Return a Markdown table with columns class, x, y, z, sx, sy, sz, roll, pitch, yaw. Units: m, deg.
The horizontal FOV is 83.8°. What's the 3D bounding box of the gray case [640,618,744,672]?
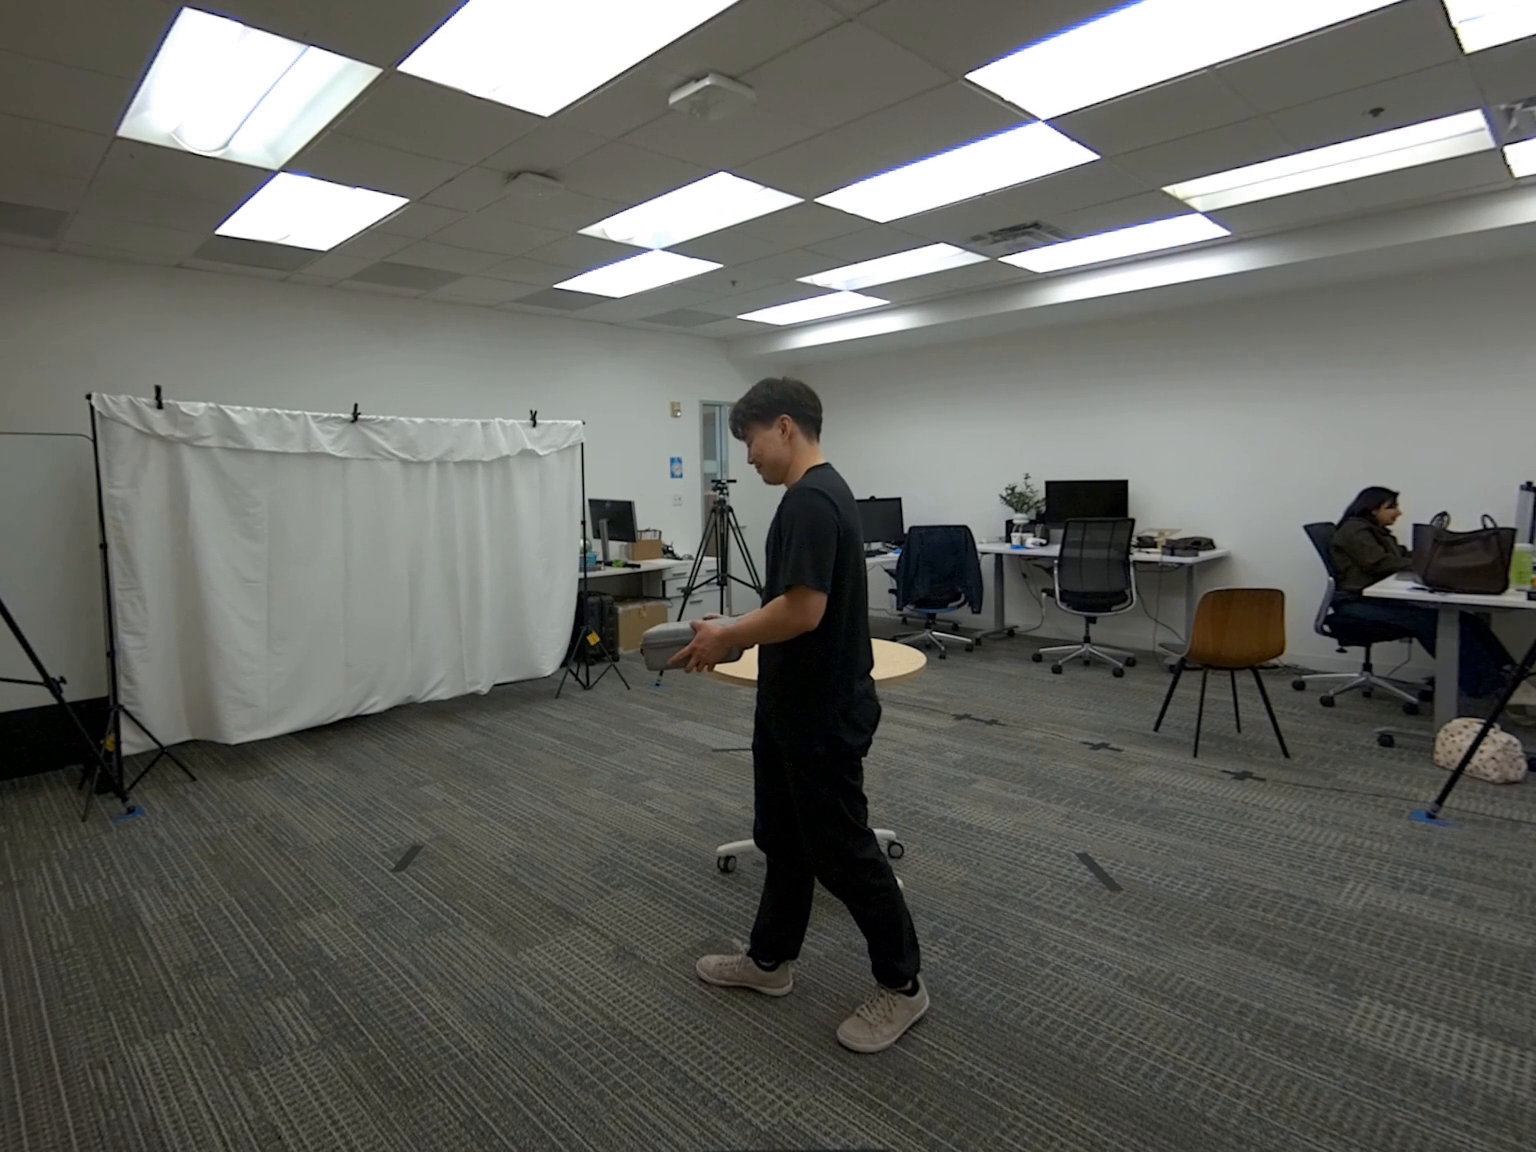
| class | x | y | z | sx | sy | sz | roll | pitch | yaw |
| --- | --- | --- | --- | --- | --- | --- | --- | --- | --- |
| gray case | -0.171 | 0.176 | 2.228 | 0.262 | 0.104 | 0.256 | -5 | 2 | 4 |
